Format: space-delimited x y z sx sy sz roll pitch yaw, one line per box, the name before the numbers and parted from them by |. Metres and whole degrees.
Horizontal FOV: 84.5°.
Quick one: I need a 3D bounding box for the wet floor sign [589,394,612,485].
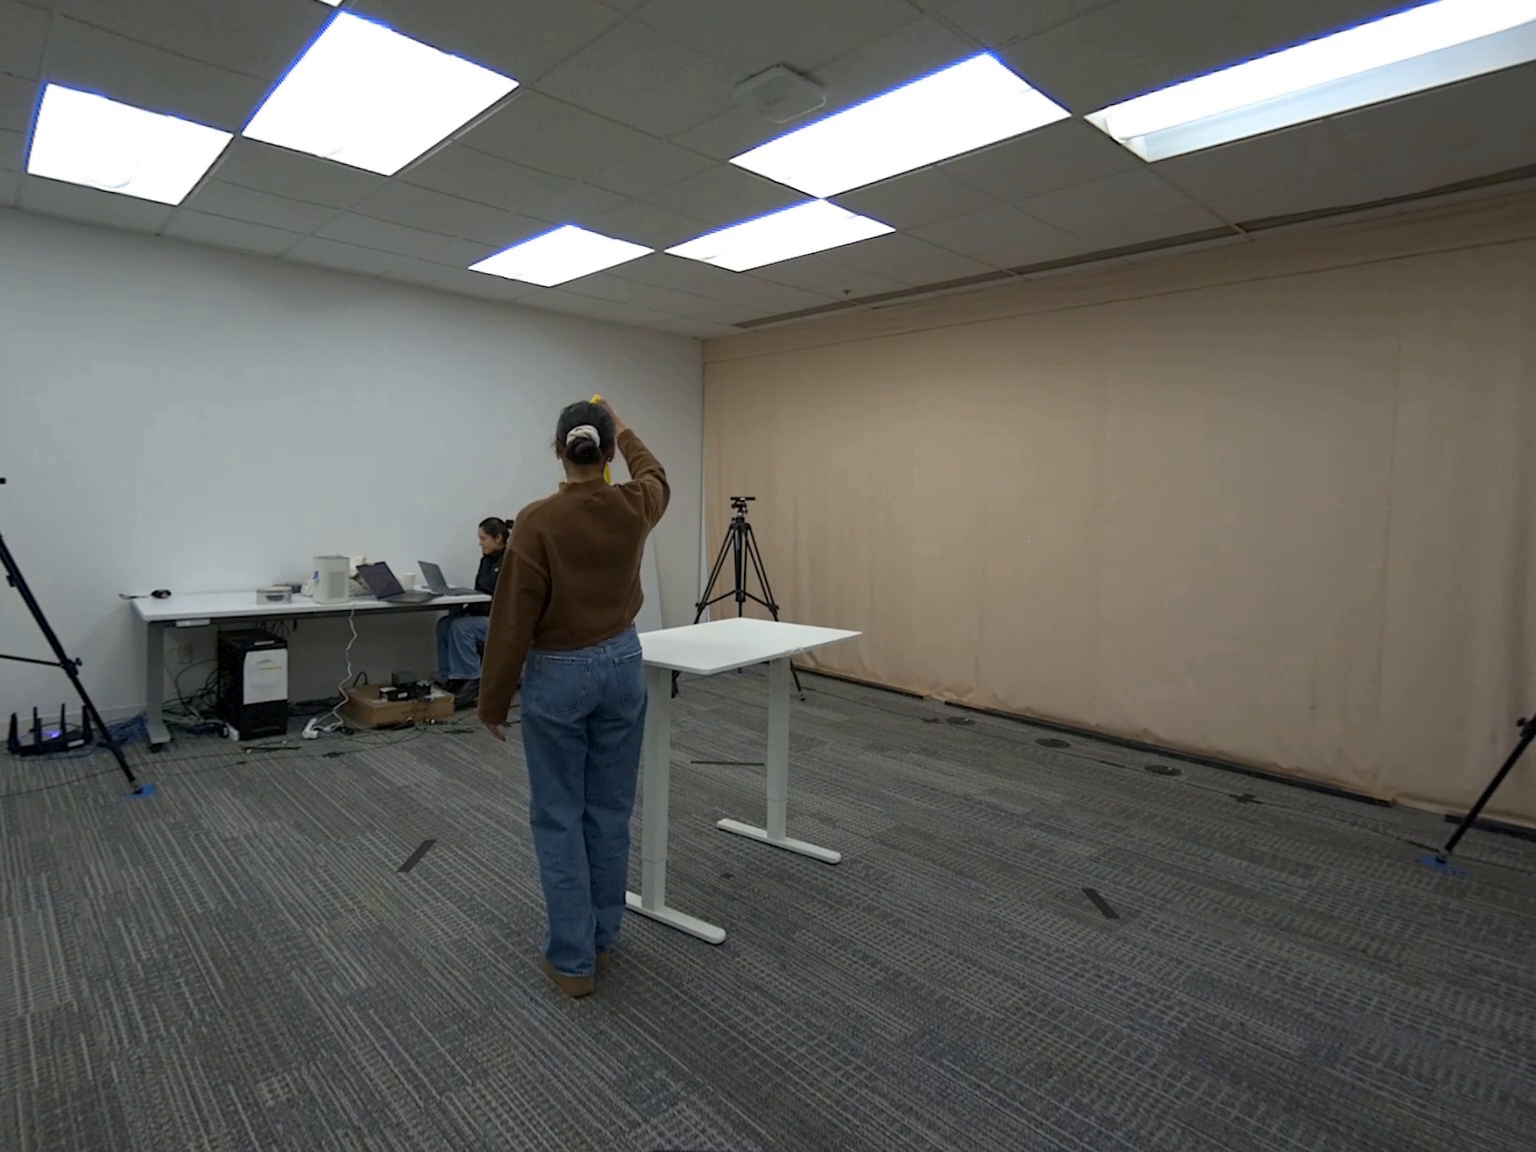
wet floor sign | -0.624 -0.292 2.909 0.288 0.644 0.285 6 4 -9
